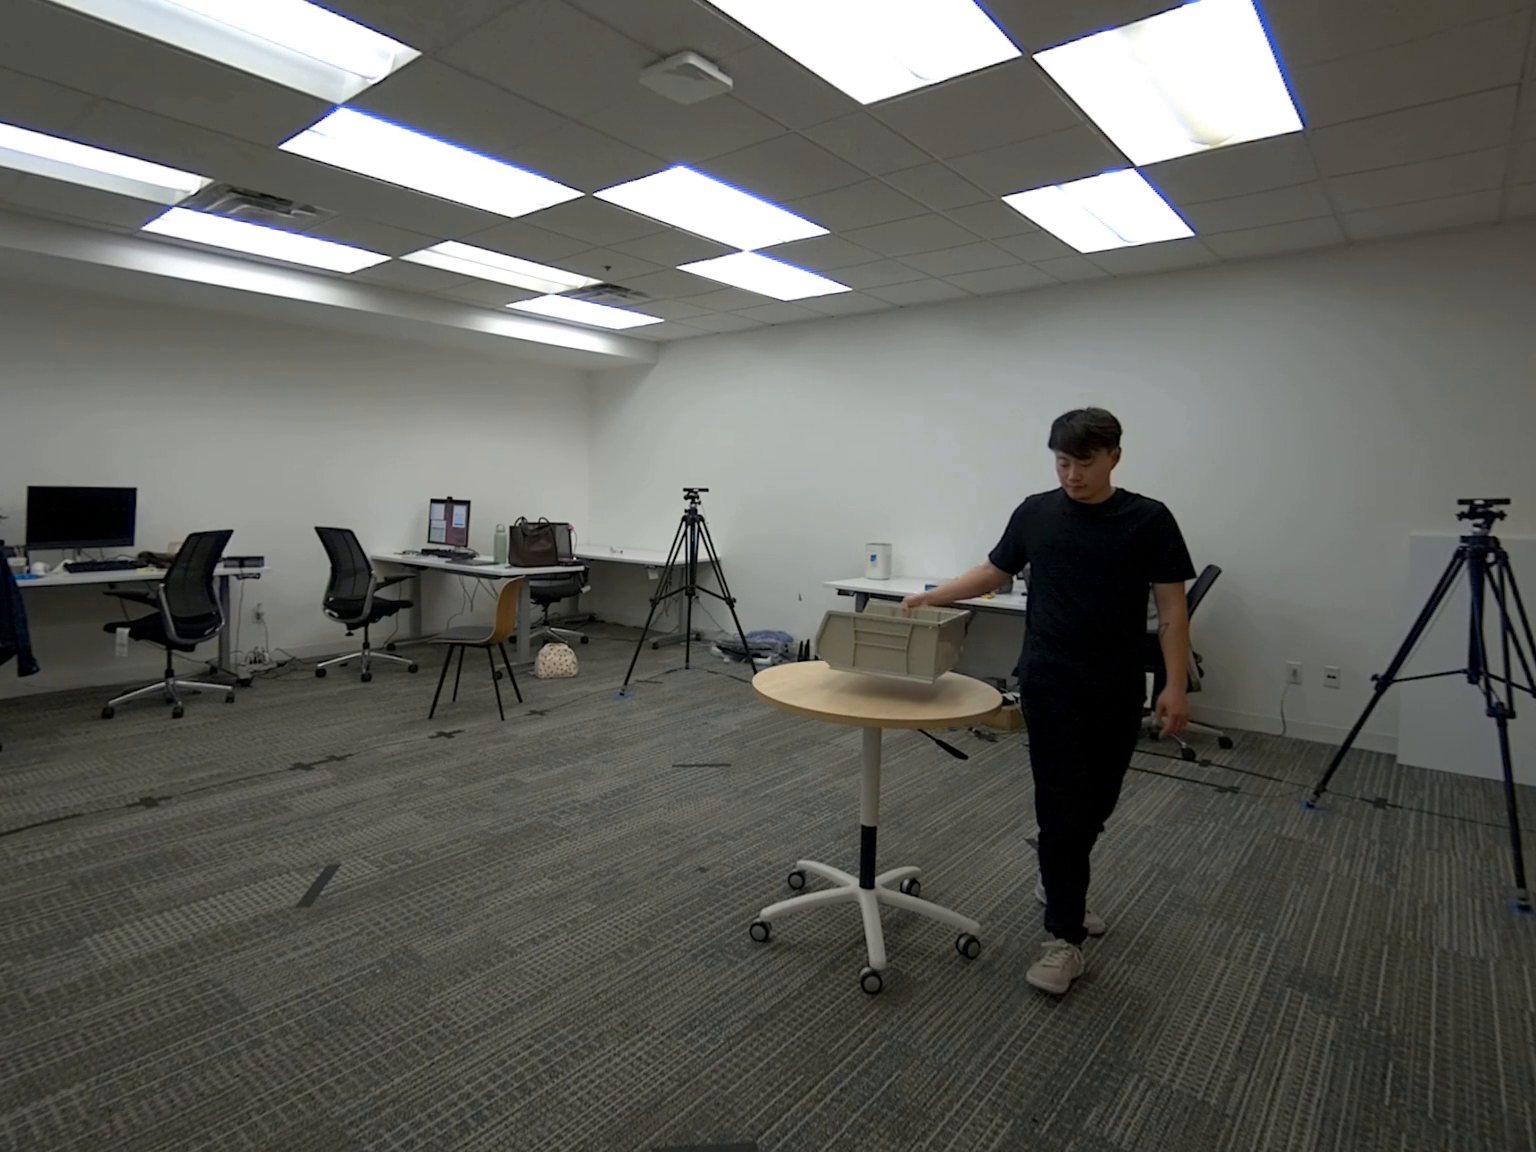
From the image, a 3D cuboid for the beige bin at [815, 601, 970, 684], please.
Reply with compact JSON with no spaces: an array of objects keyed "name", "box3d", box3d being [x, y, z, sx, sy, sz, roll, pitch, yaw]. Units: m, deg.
[{"name":"beige bin","box3d":[0.390,0.195,2.683,0.388,0.188,0.412,7,6,25]}]
